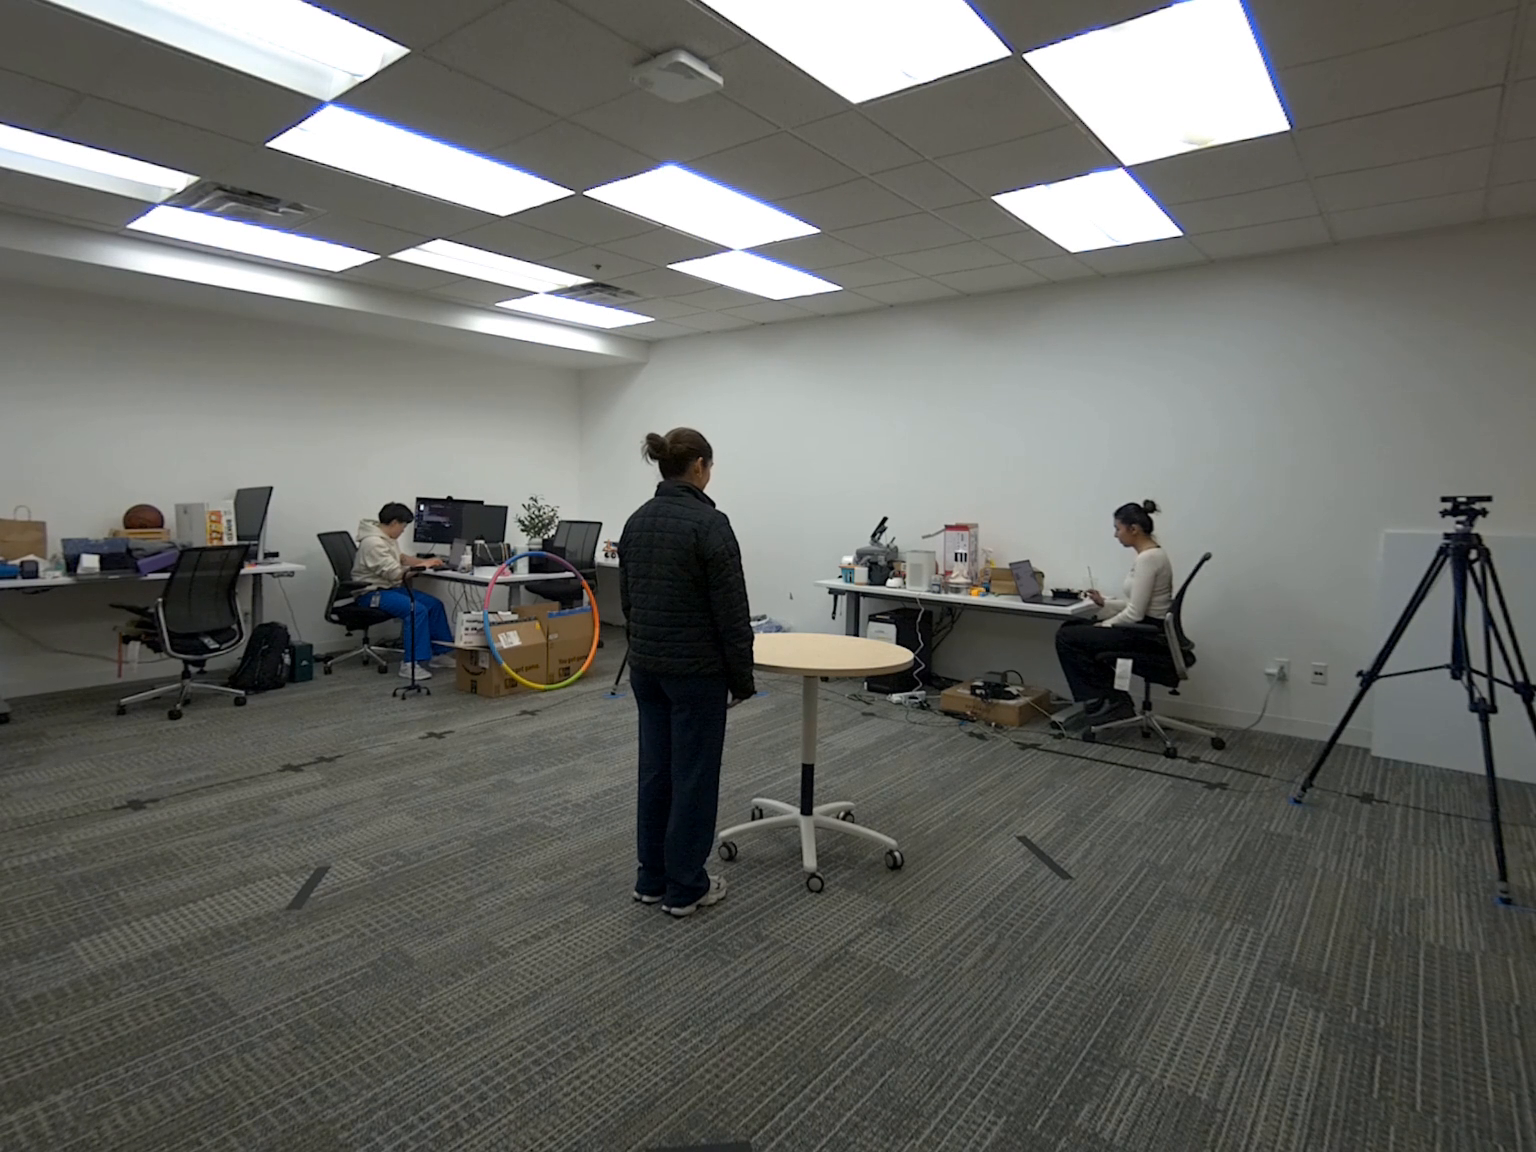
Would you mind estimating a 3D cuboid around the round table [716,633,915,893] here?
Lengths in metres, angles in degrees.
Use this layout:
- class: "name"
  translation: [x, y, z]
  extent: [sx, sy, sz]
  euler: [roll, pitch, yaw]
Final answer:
- class: "round table"
  translation: [0.163, 0.663, 3.283]
  extent: [0.784, 0.784, 0.789]
  euler: [2, 4, -2]
